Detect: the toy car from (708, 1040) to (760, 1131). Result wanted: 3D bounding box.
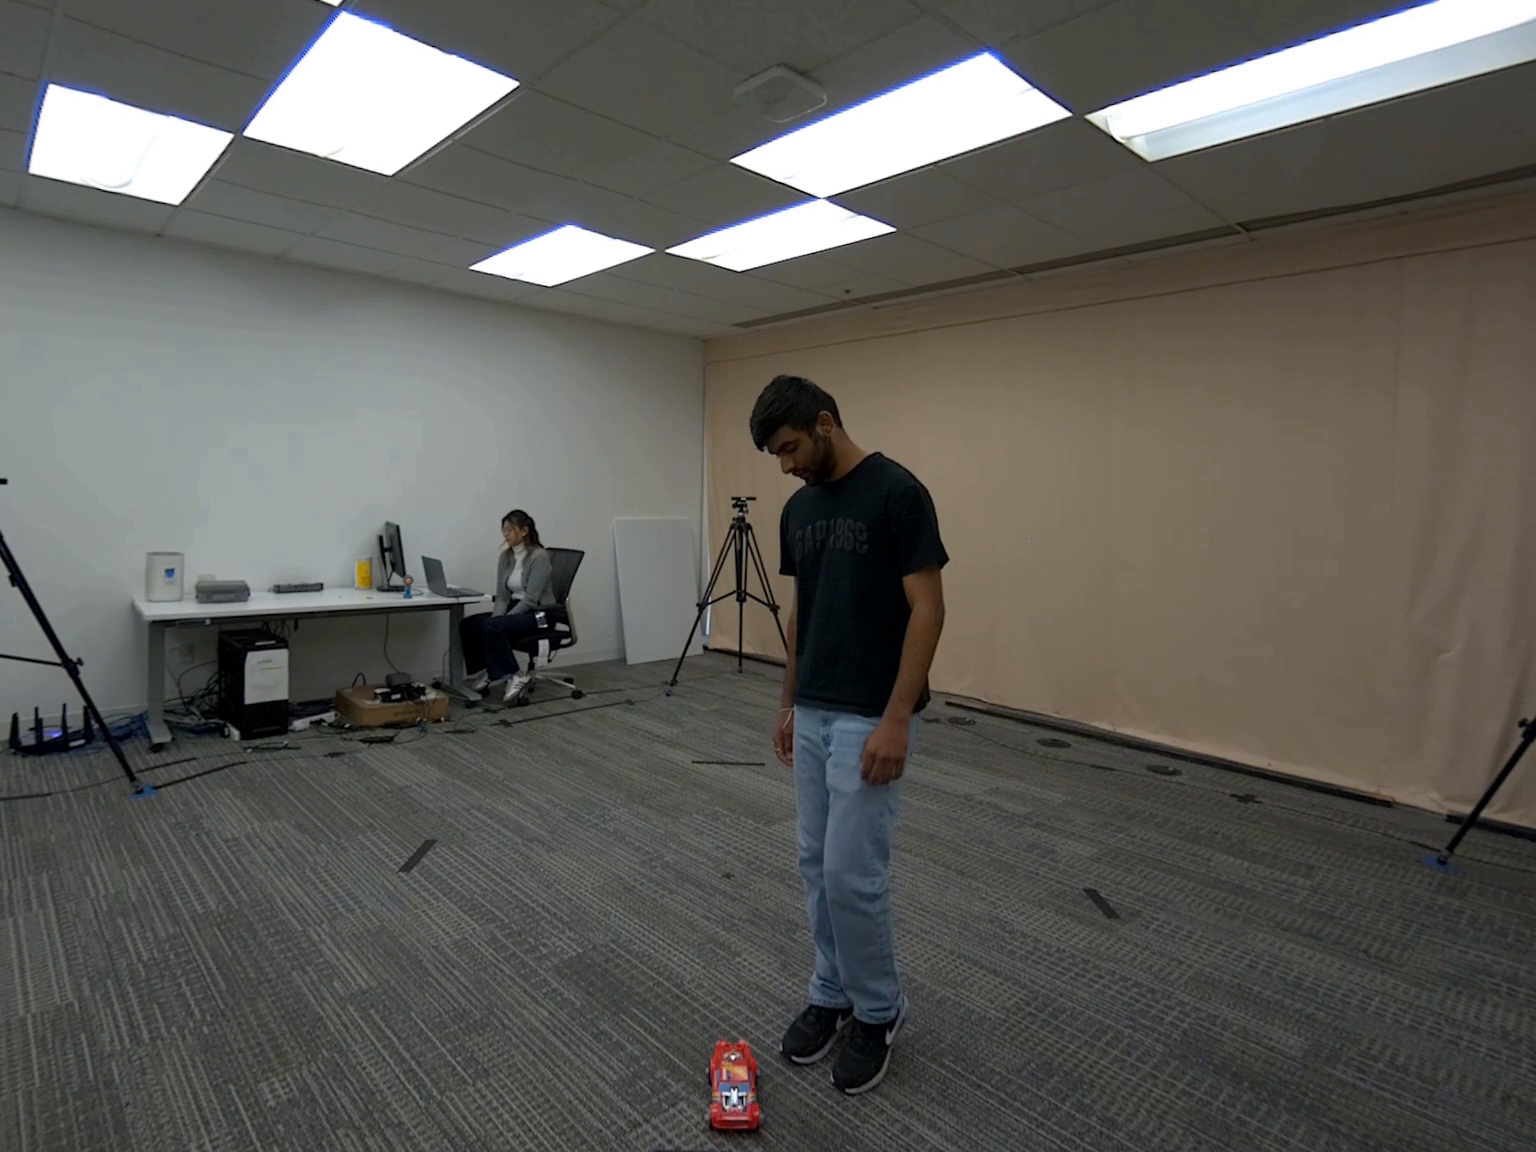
[{"bbox_3d":[-0.088,1.189,1.947,0.130,0.082,0.257,0,15,-2],"label":"toy car"}]
